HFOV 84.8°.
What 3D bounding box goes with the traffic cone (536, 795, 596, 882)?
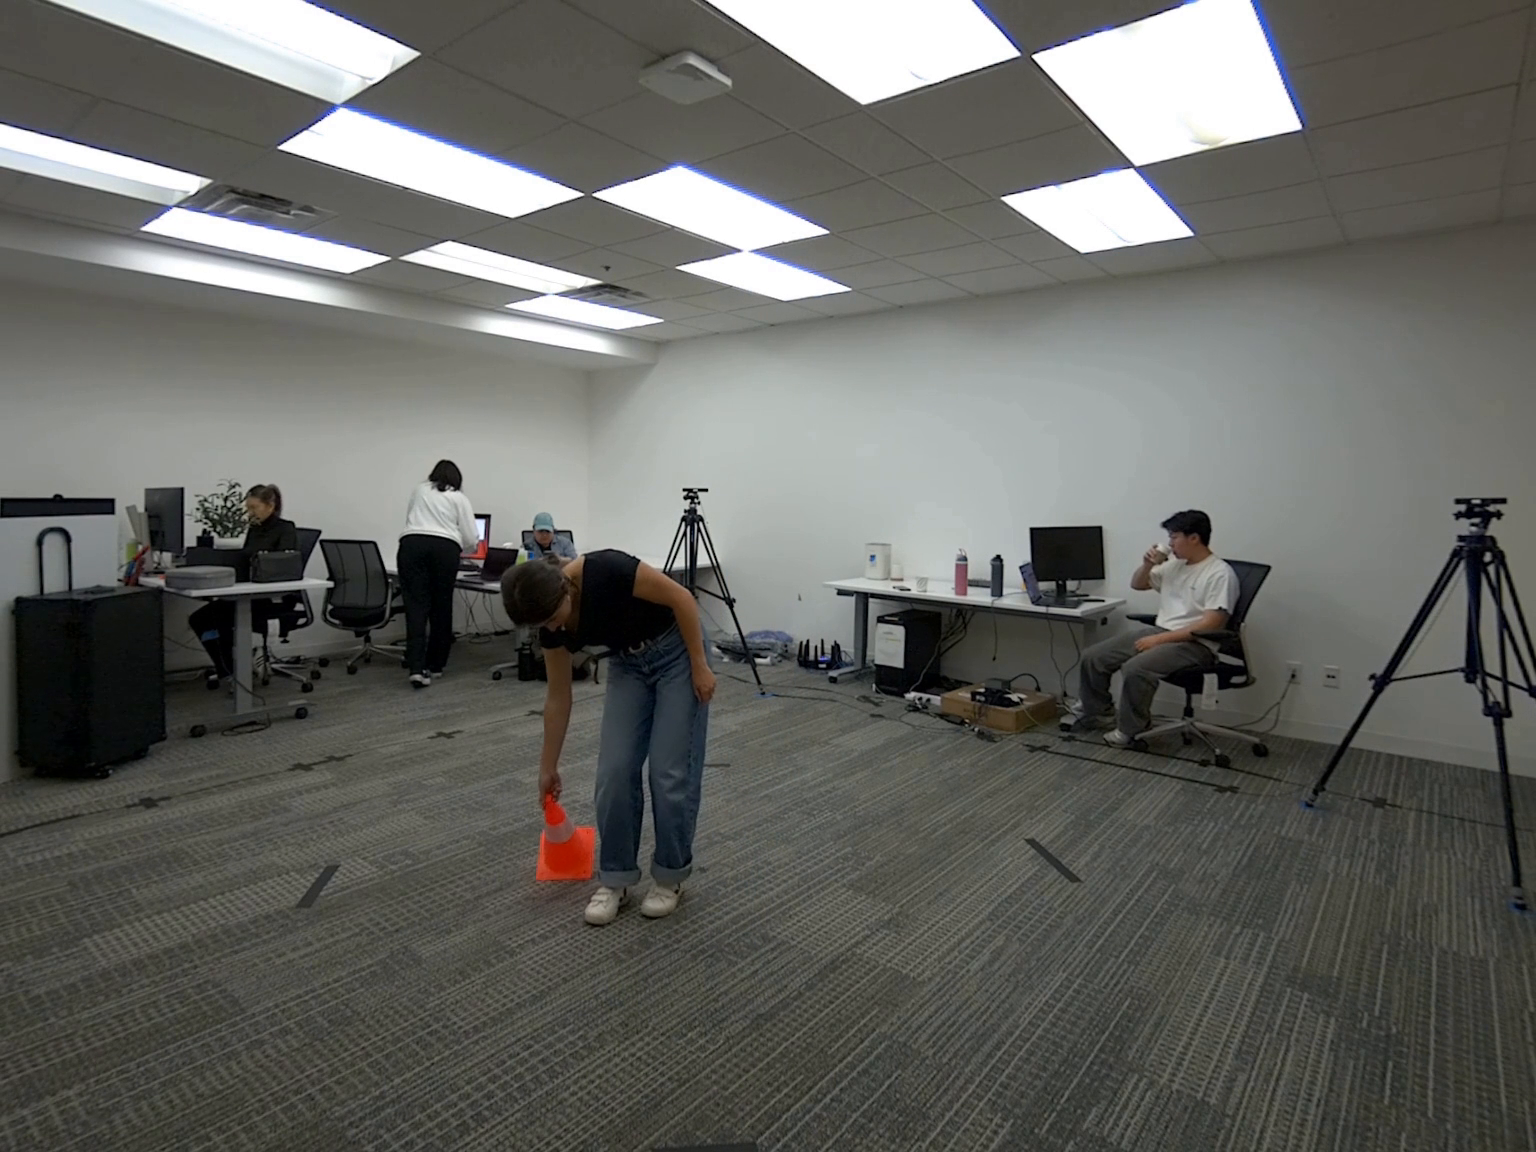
[{"bbox_3d":[-0.731,0.867,2.954,0.203,0.373,0.211,1,43,0],"label":"traffic cone"}]
